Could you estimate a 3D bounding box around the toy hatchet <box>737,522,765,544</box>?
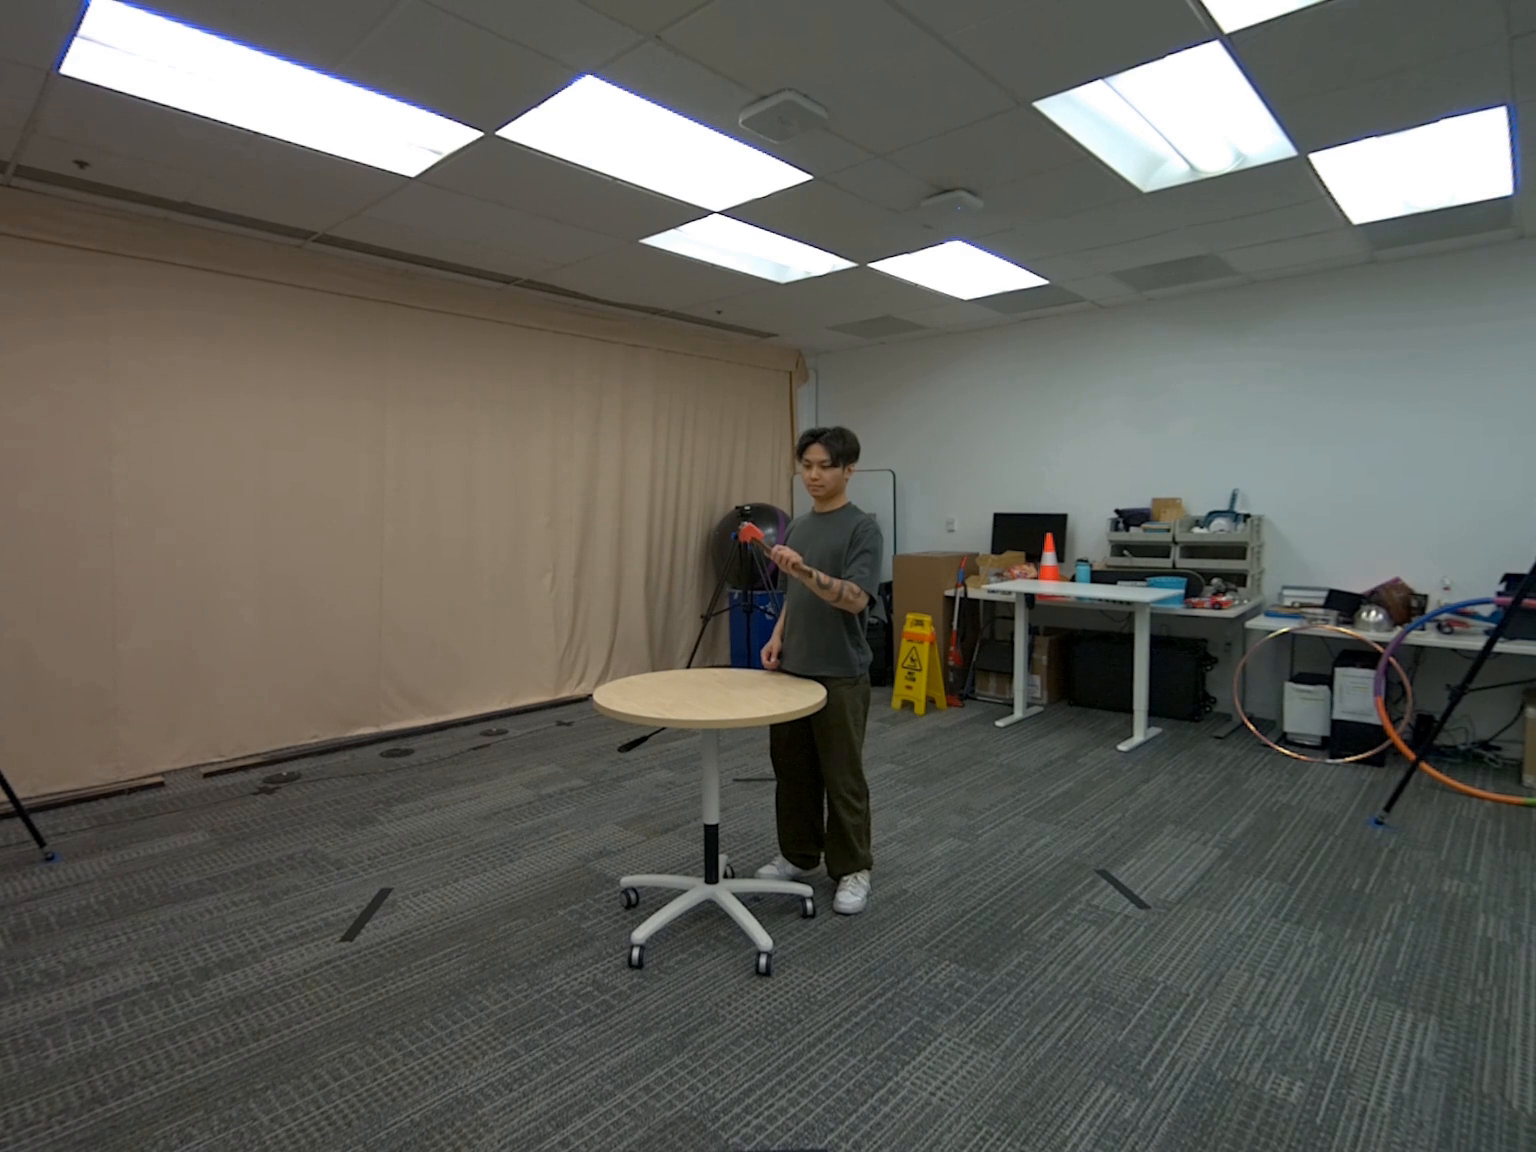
[{"bbox_3d":[0.024,-0.088,2.612,0.277,0.029,0.128,29,-25,20],"label":"toy hatchet"}]
